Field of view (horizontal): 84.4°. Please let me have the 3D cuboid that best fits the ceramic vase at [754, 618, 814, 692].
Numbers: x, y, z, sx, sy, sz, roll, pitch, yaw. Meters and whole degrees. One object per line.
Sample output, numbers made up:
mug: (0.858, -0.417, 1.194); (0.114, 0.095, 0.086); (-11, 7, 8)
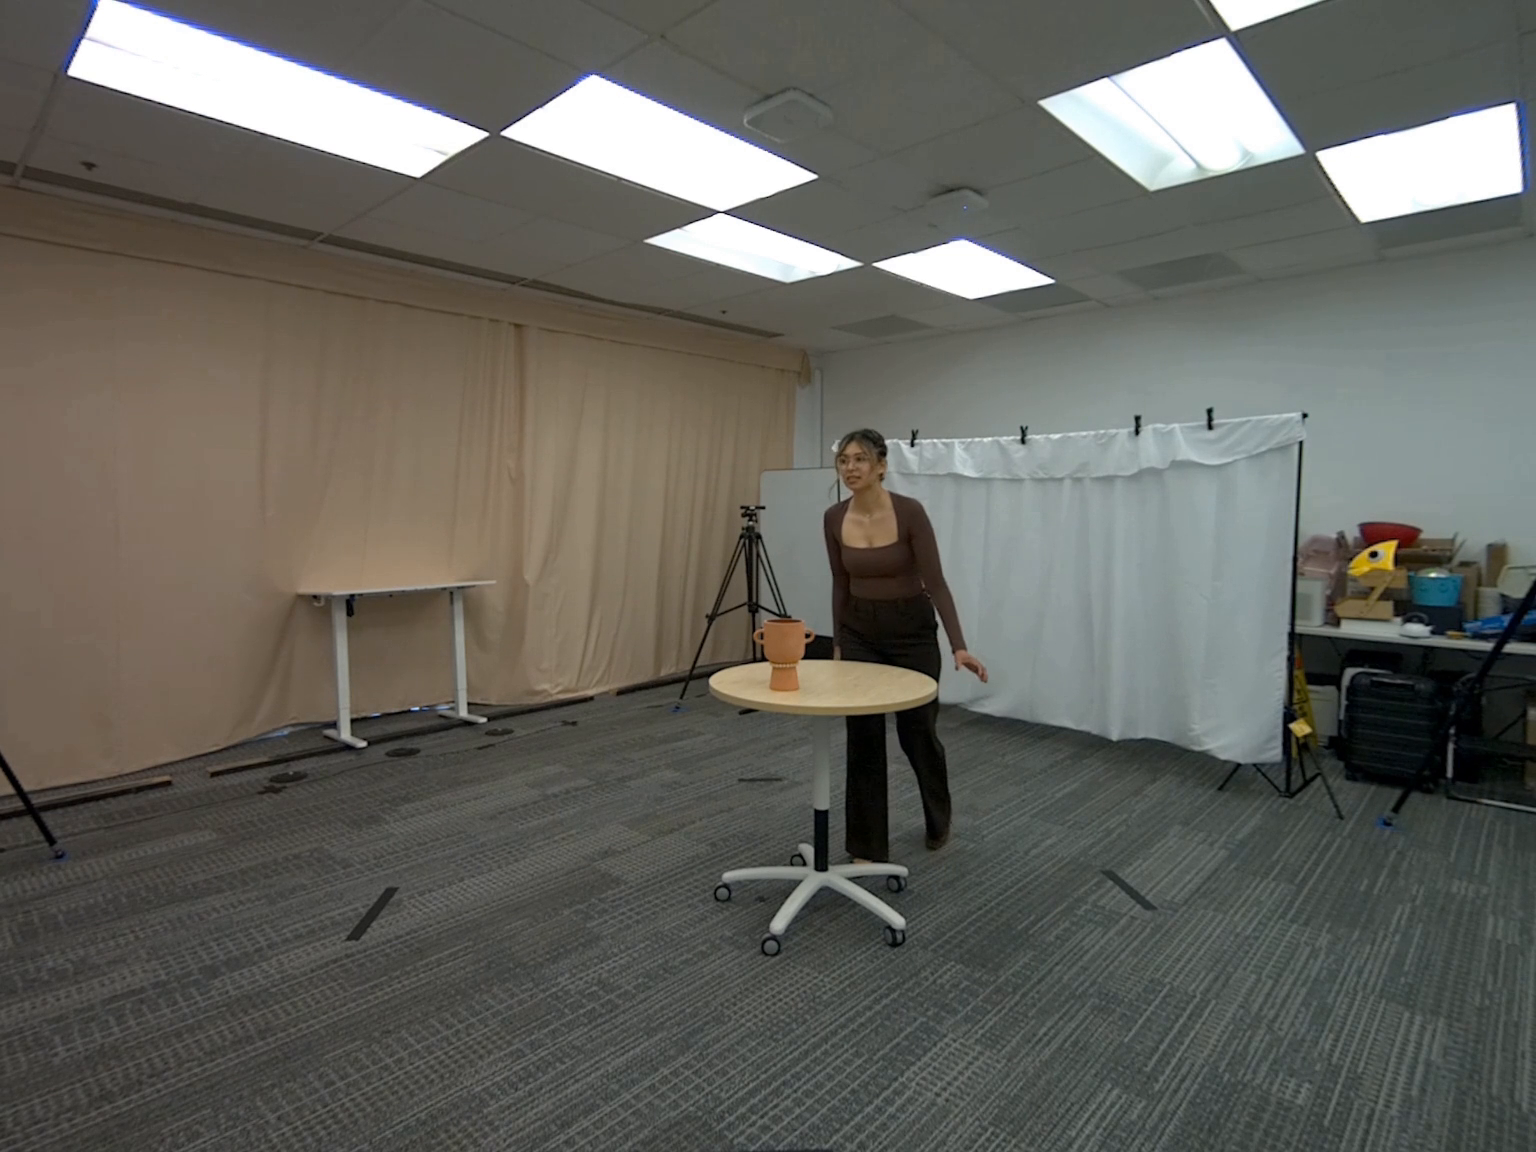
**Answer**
ceramic vase: (0.056, 0.259, 2.735); (0.163, 0.219, 0.131); (1, 3, 31)
